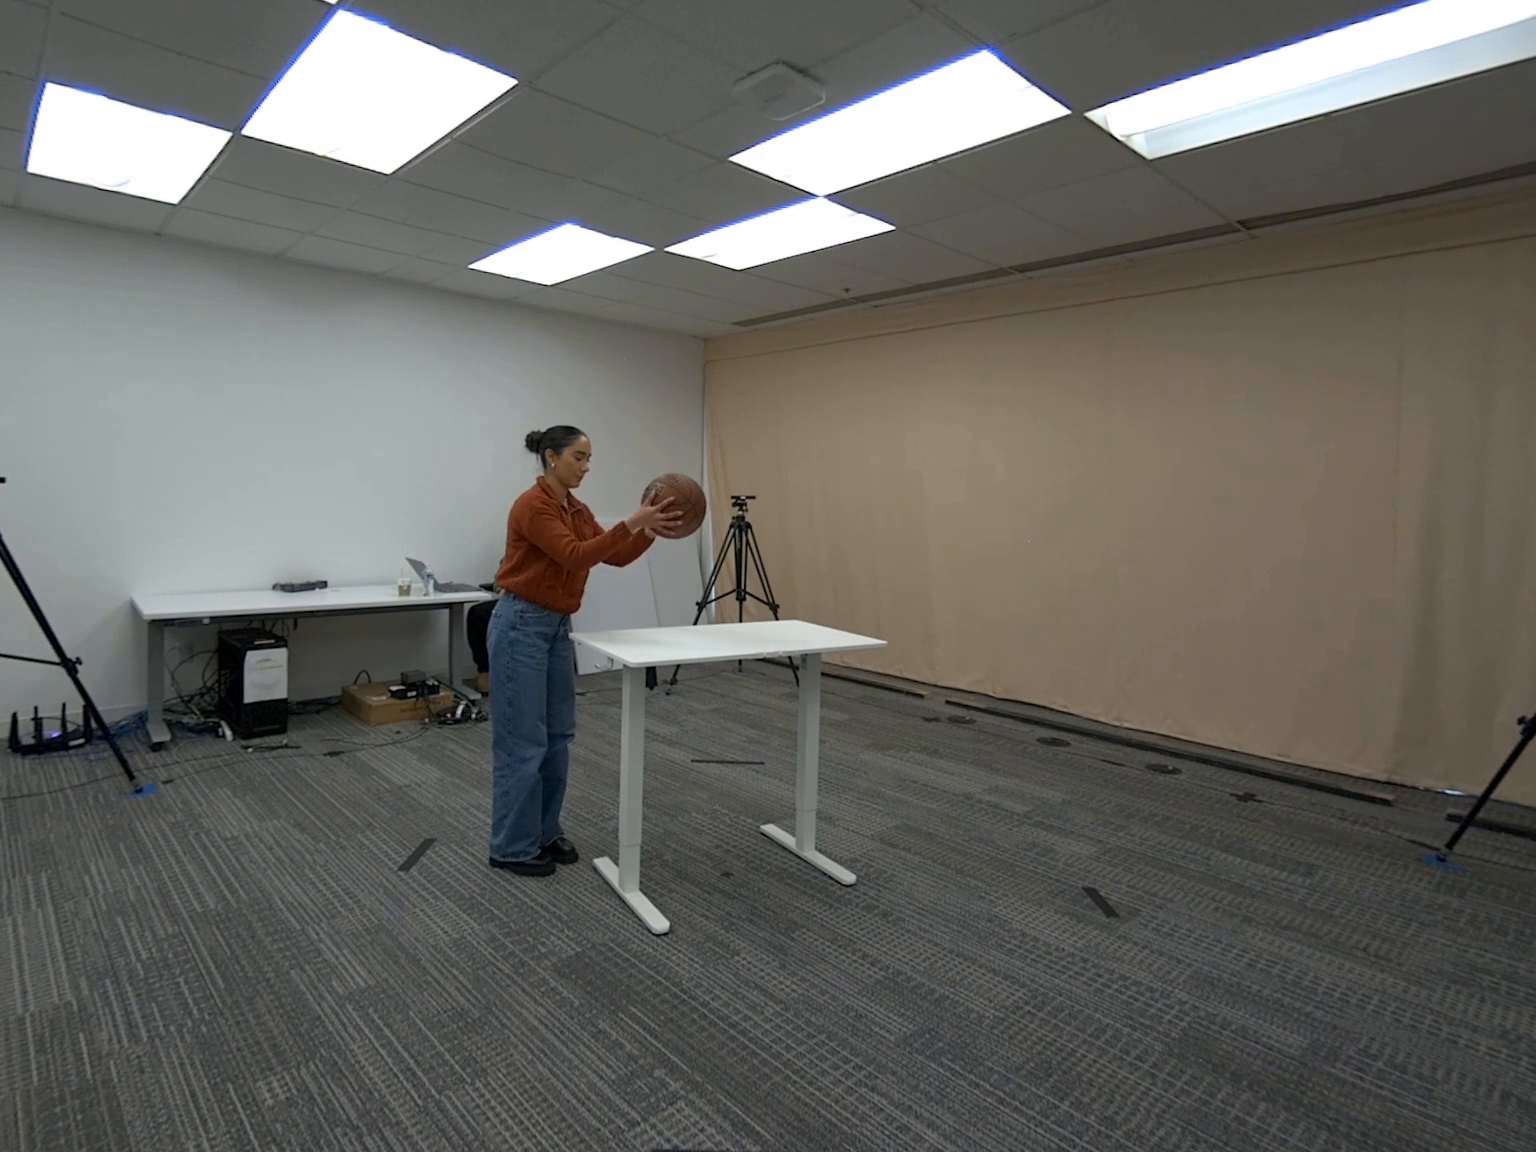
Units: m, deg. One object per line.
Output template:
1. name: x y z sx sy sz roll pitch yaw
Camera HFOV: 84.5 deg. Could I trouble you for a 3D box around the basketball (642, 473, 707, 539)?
1. basketball: -0.339 -0.231 3.011 0.236 0.235 0.237 1 4 -1
